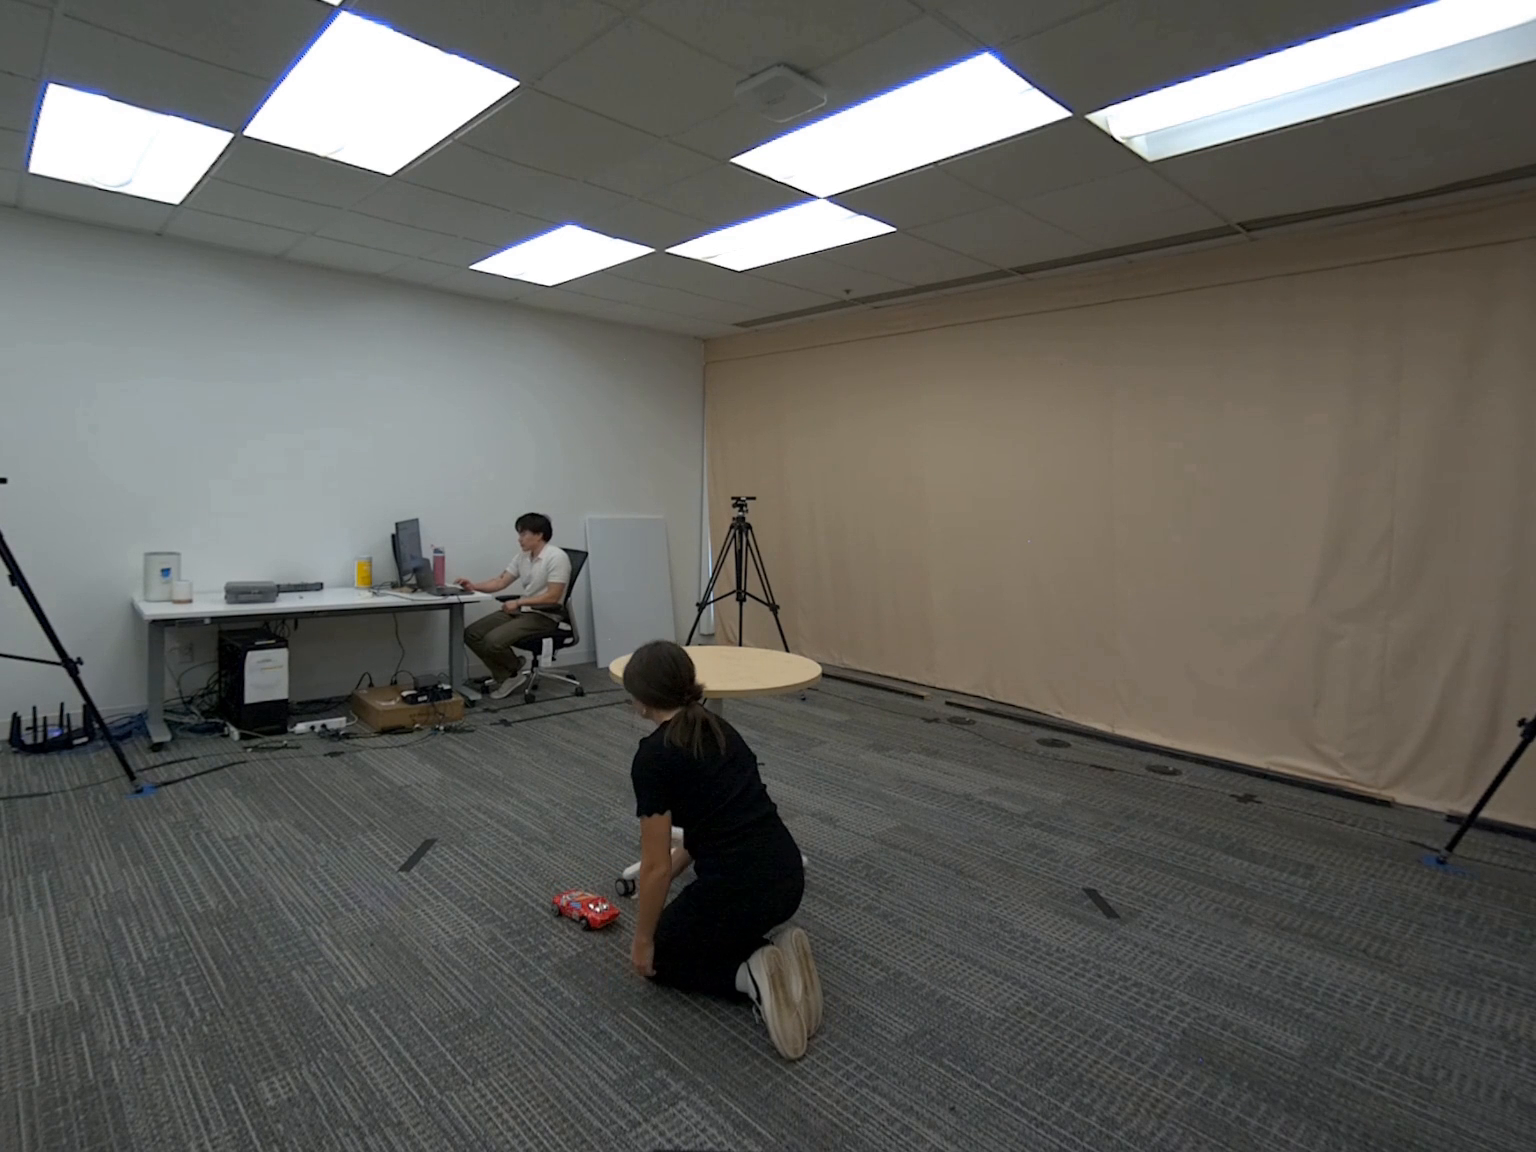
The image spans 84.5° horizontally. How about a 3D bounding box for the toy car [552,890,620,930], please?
[{"bbox_3d":[-0.600,1.099,2.753,0.259,0.083,0.127,-8,-3,39],"label":"toy car"}]
